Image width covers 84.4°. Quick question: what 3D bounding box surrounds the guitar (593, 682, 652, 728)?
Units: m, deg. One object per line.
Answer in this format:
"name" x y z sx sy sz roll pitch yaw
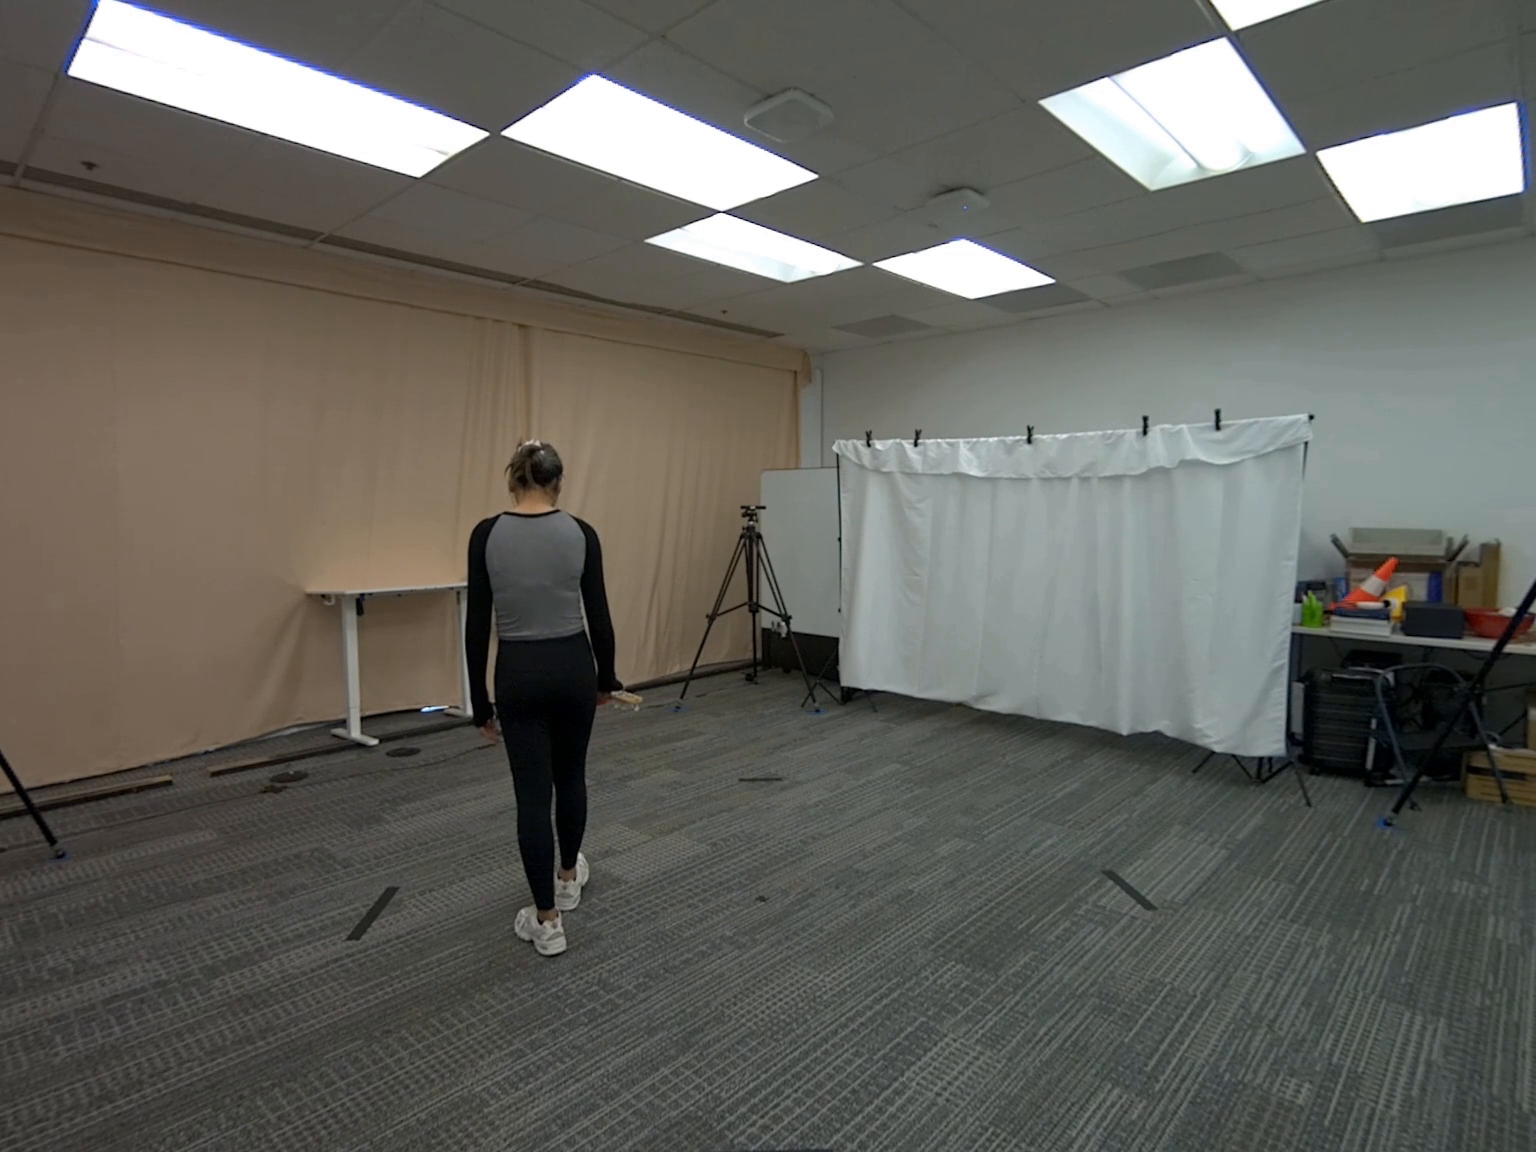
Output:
"guitar" -0.604 0.414 2.934 0.188 0.070 0.513 -6 8 -32
